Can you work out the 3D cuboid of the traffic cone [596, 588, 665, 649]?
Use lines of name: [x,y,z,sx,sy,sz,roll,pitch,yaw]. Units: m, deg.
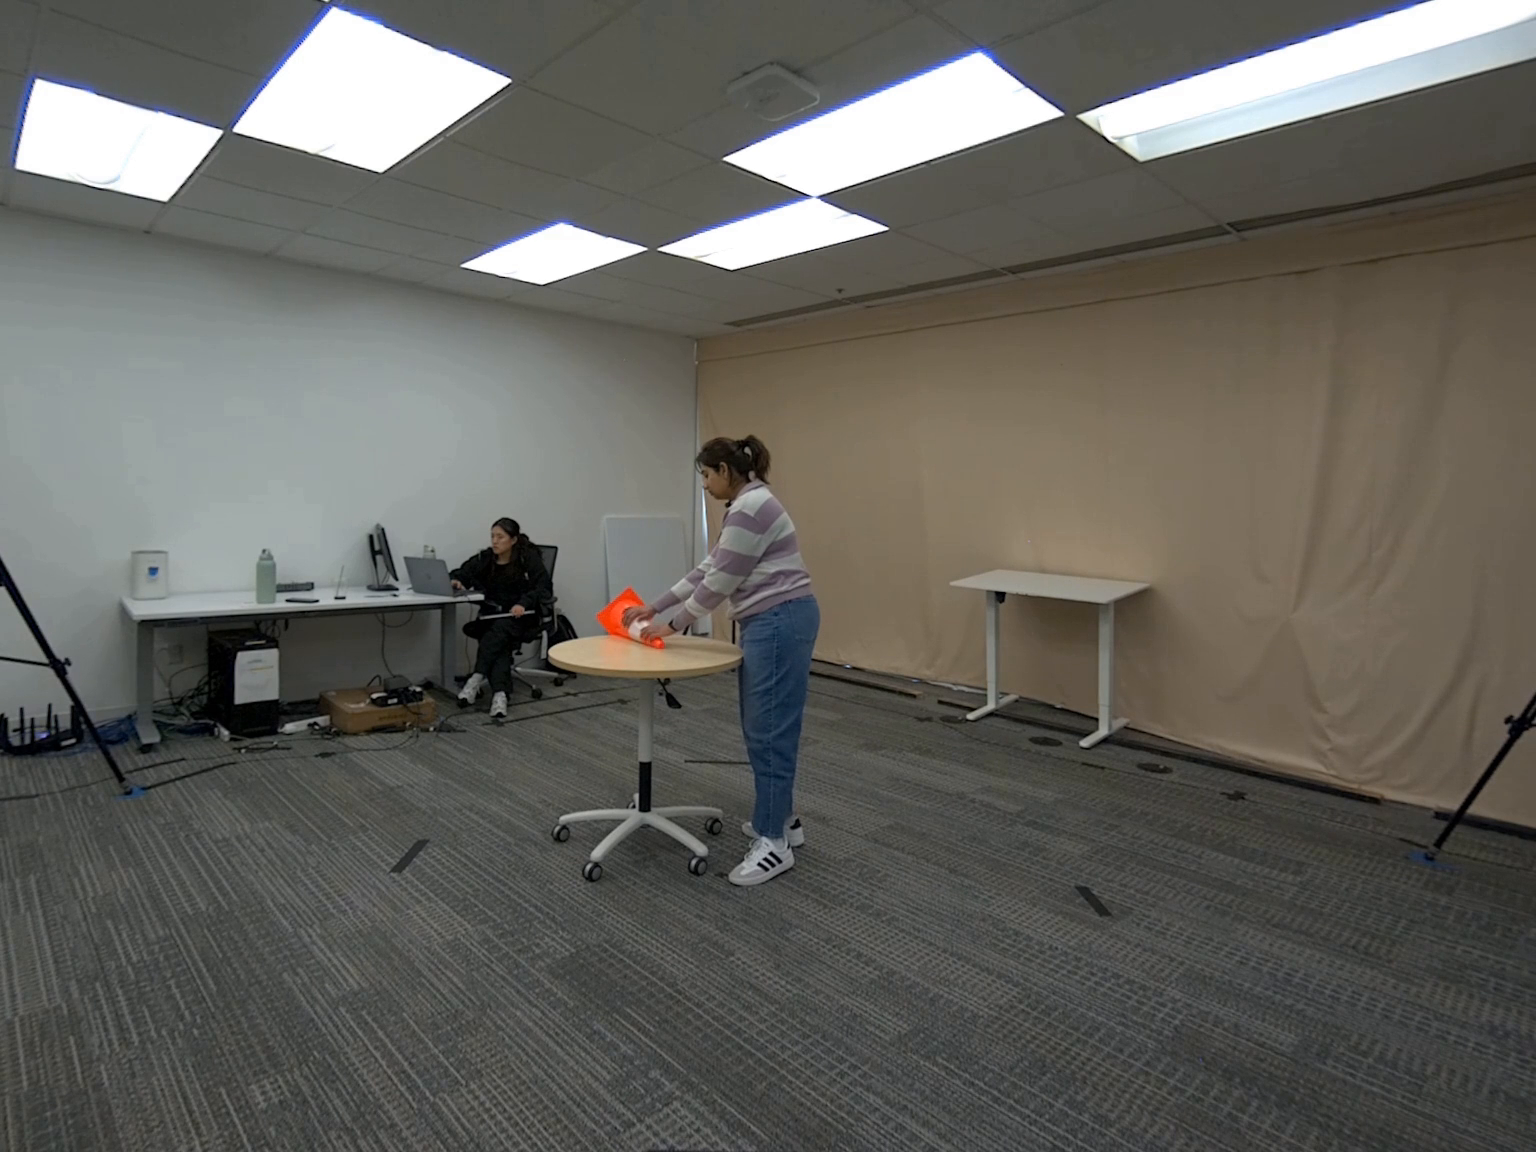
traffic cone: [-0.529,0.229,3.502,0.205,0.198,0.395,-44,32,-11]
